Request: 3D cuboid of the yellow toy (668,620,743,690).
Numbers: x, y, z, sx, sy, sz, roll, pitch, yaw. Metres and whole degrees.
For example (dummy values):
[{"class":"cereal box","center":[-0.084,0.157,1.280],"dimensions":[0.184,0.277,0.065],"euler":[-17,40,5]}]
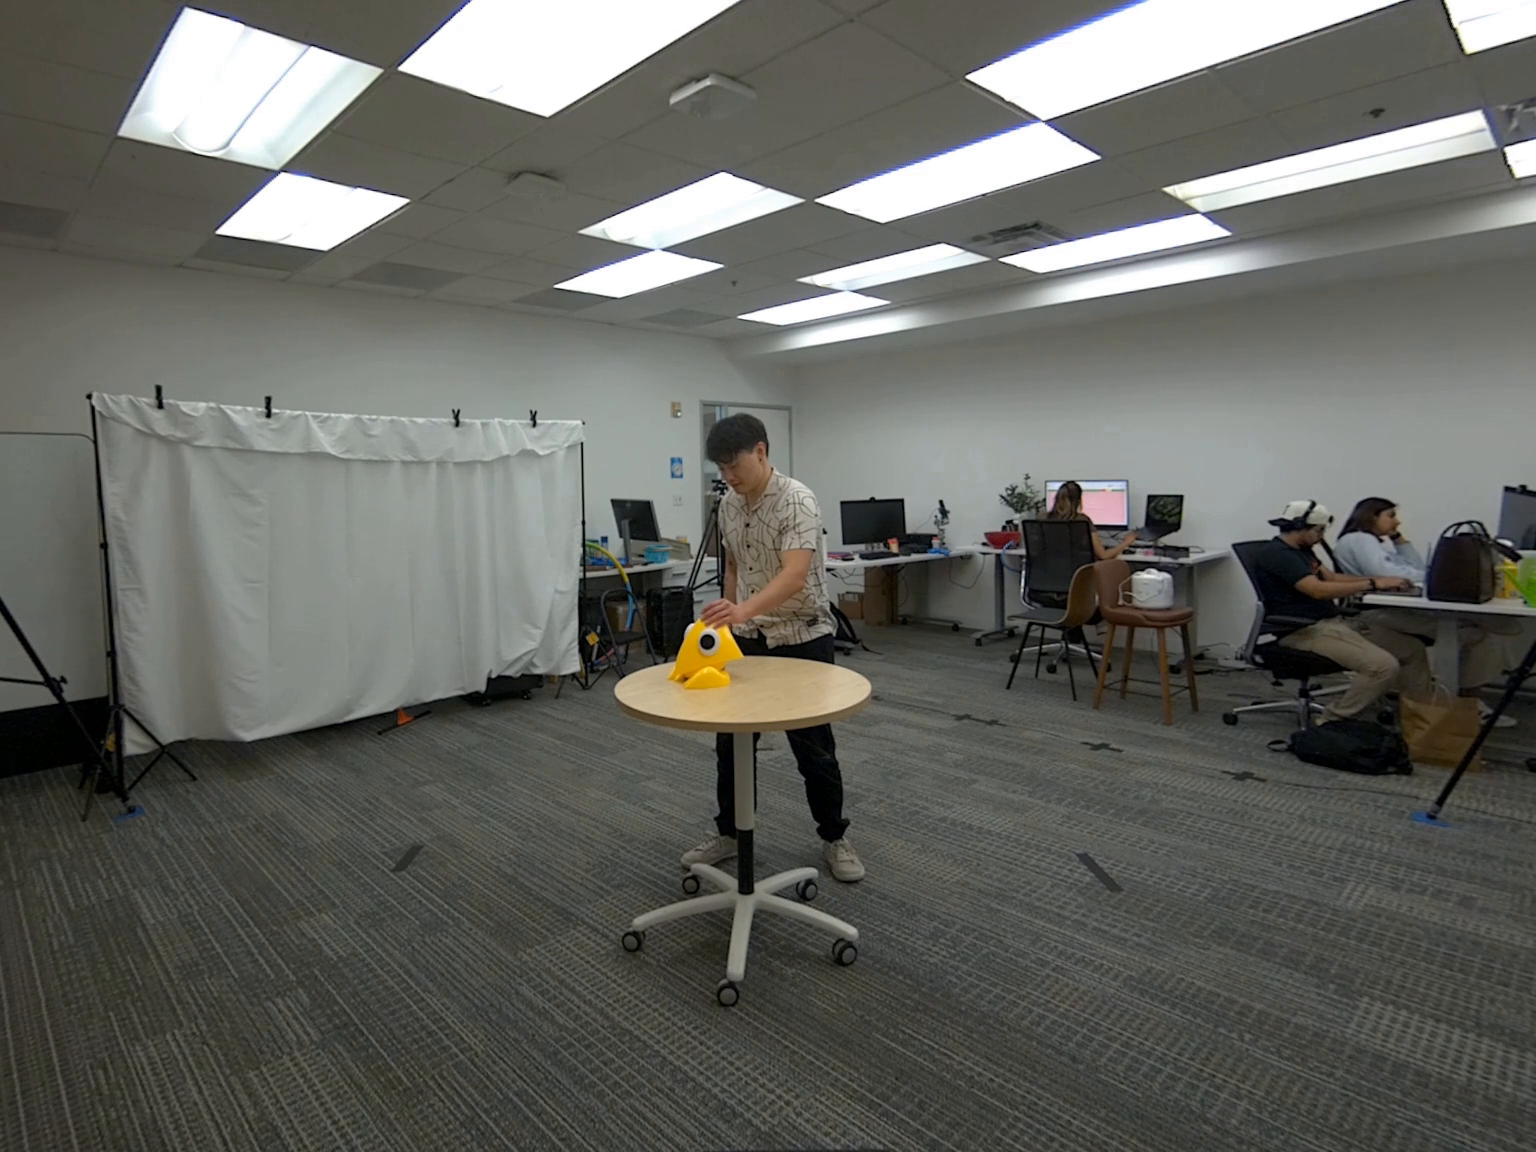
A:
[{"class":"yellow toy","center":[-0.207,0.211,2.624],"dimensions":[0.188,0.230,0.210],"euler":[-4,6,-31]}]
